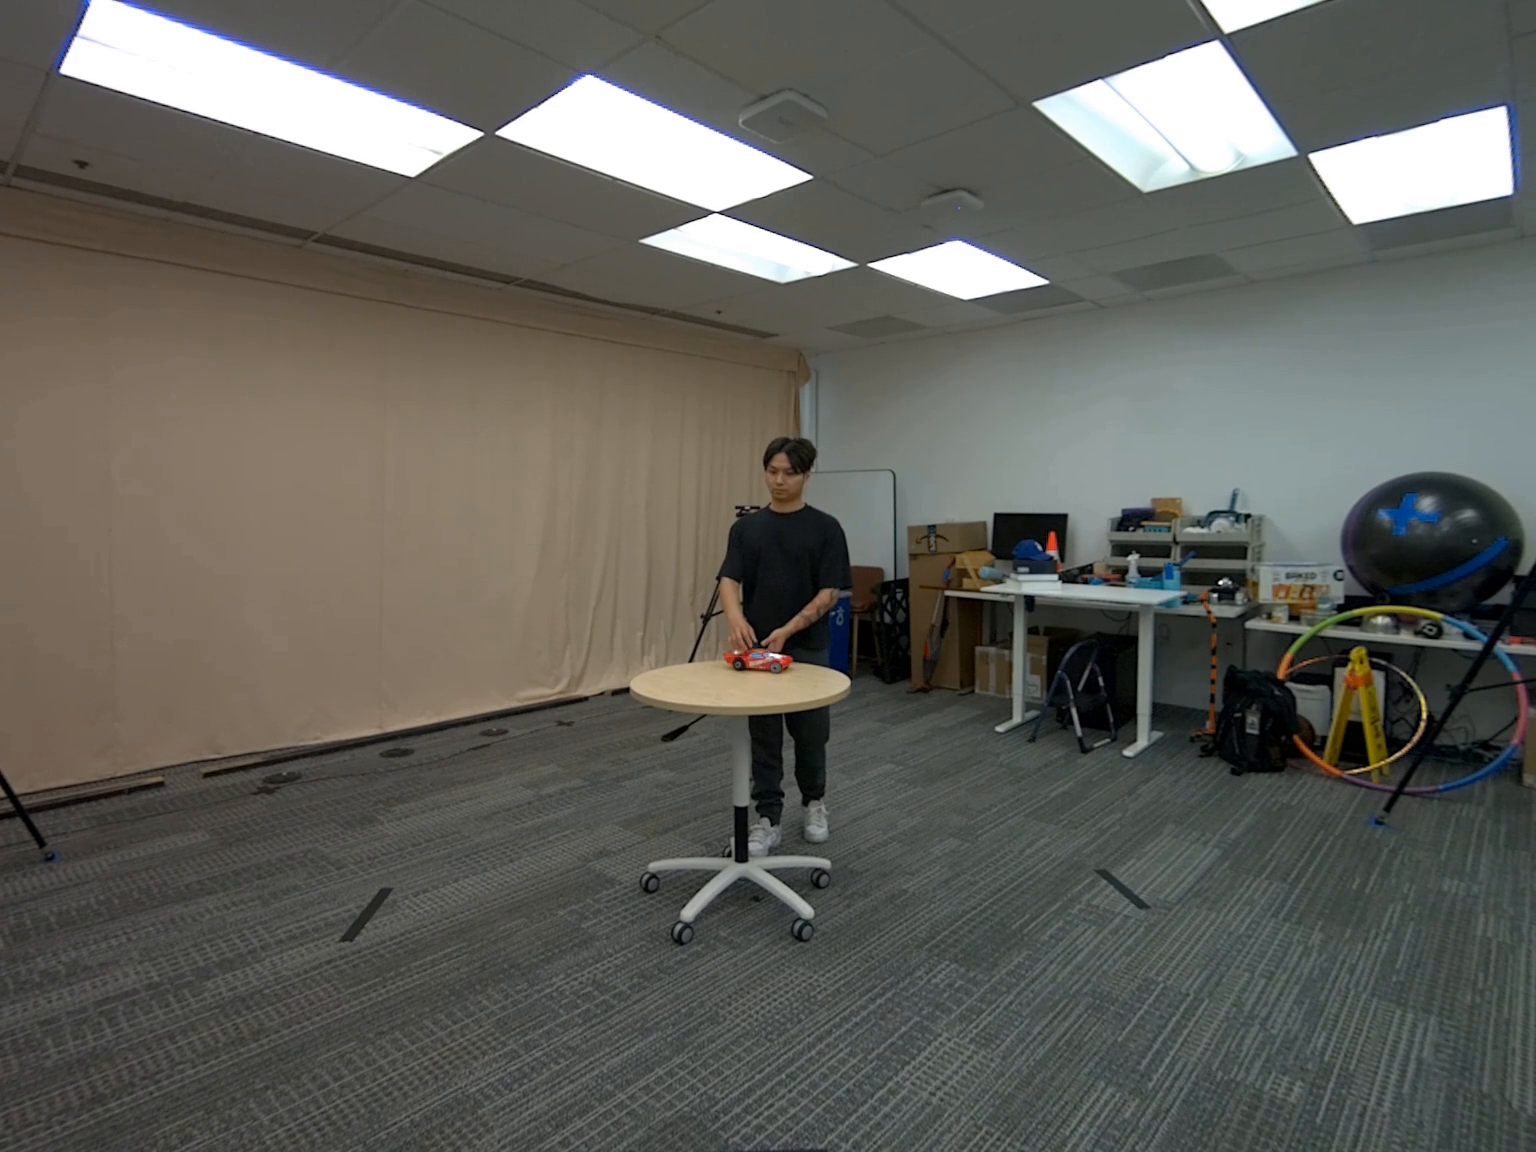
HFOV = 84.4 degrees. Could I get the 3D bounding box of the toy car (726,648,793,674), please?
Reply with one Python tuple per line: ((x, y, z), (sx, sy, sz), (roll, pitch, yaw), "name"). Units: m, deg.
((-0.042, 0.315, 3.132), (0.261, 0.083, 0.127), (12, 10, 22), "toy car")
